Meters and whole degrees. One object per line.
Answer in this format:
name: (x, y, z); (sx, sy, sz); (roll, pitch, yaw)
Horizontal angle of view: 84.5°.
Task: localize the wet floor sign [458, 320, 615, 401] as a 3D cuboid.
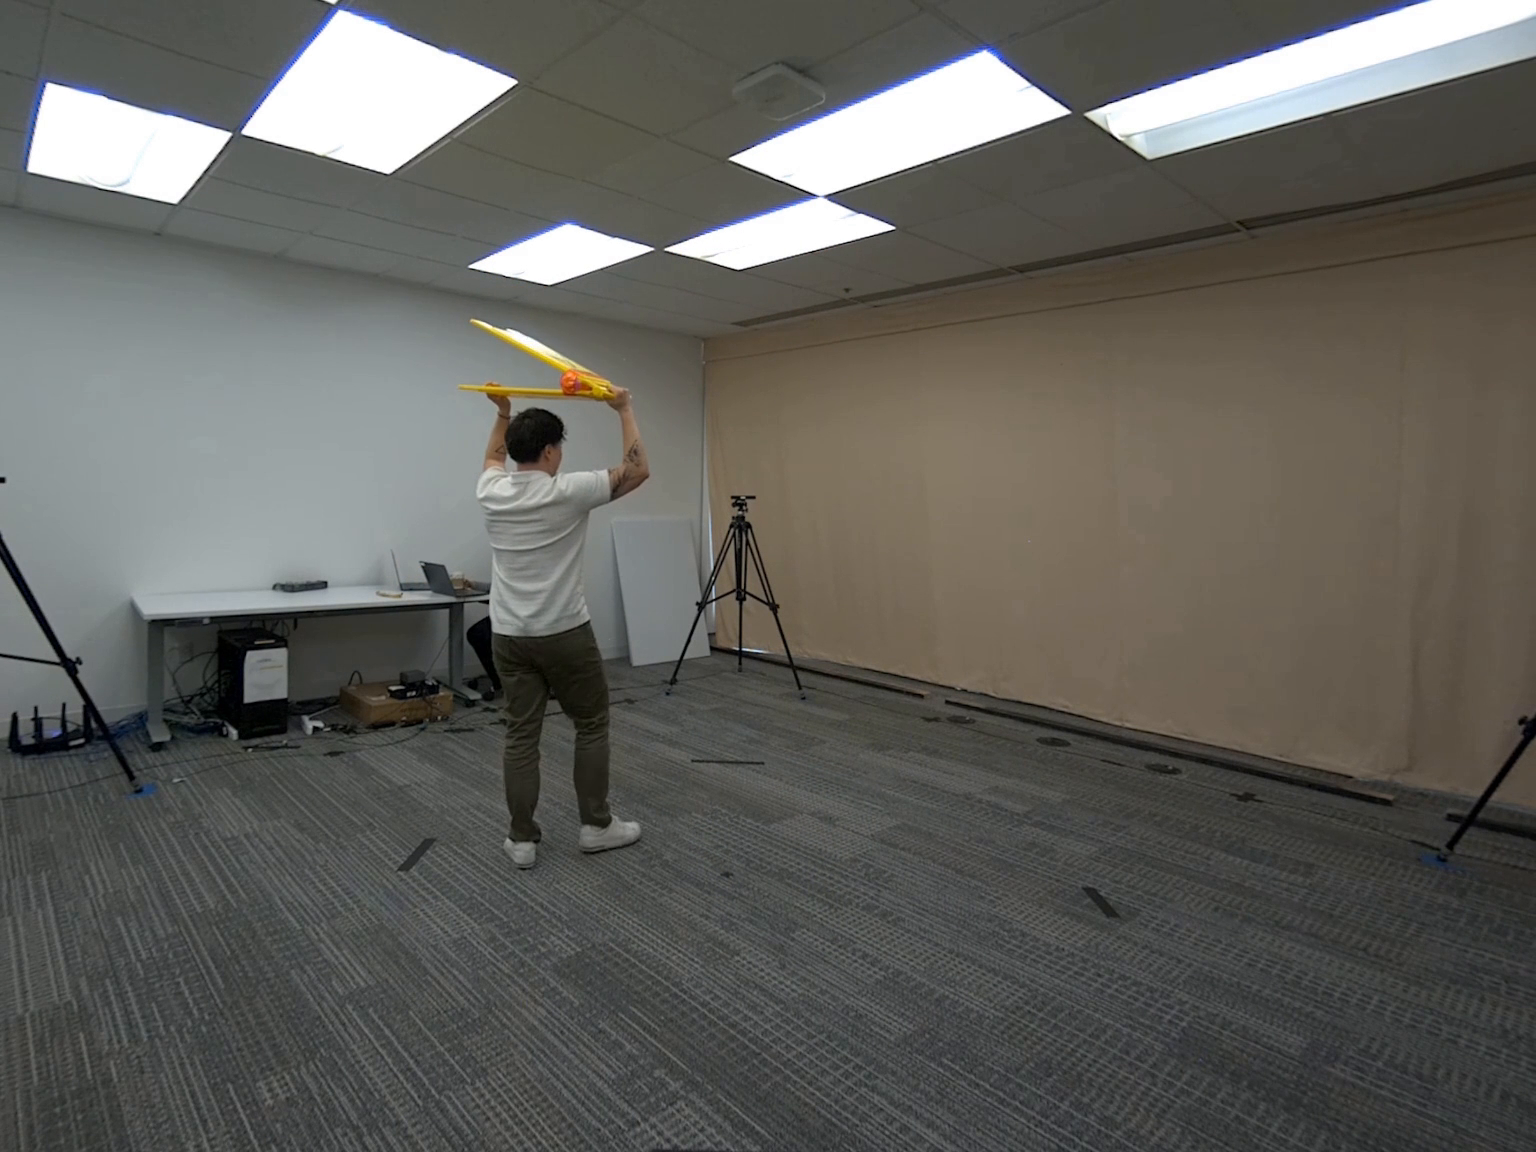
wet floor sign: (-0.848, -0.768, 3.238); (0.660, 0.288, 0.278); (20, 12, 22)
